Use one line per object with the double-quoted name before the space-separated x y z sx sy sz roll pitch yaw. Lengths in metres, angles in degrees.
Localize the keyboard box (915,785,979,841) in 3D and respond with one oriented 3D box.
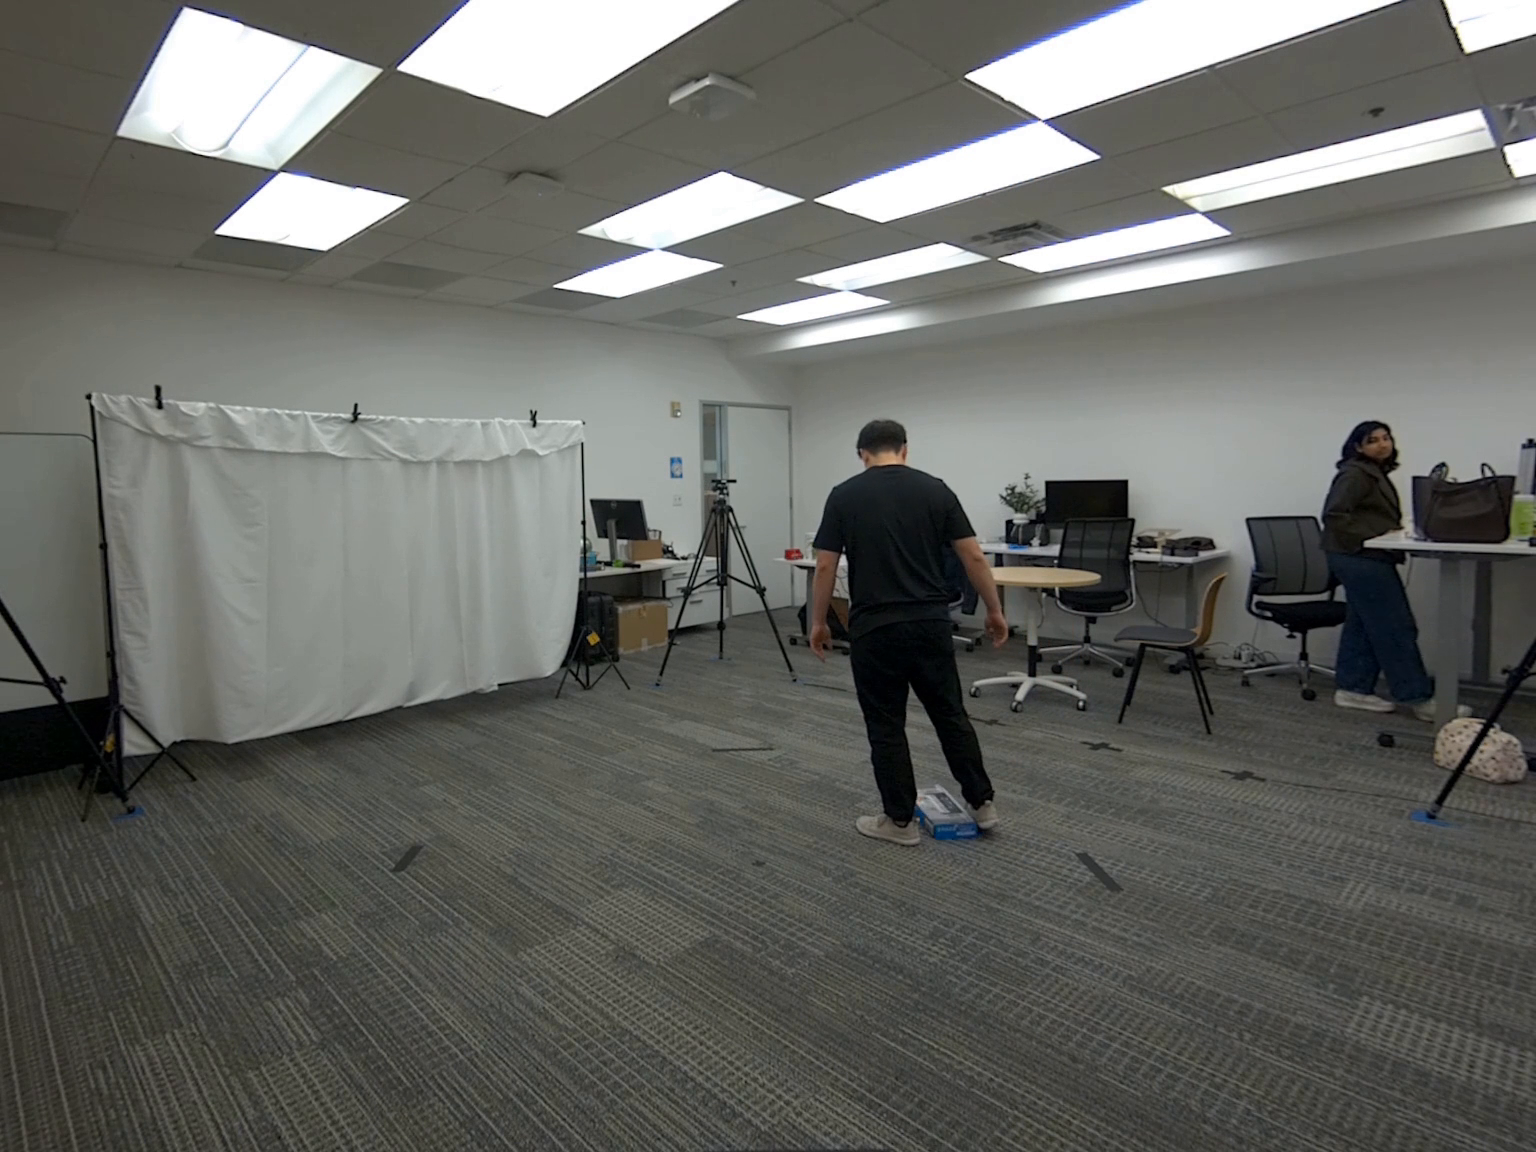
"keyboard box" 0.688 0.960 3.511 0.175 0.059 0.441 -2 6 -8
